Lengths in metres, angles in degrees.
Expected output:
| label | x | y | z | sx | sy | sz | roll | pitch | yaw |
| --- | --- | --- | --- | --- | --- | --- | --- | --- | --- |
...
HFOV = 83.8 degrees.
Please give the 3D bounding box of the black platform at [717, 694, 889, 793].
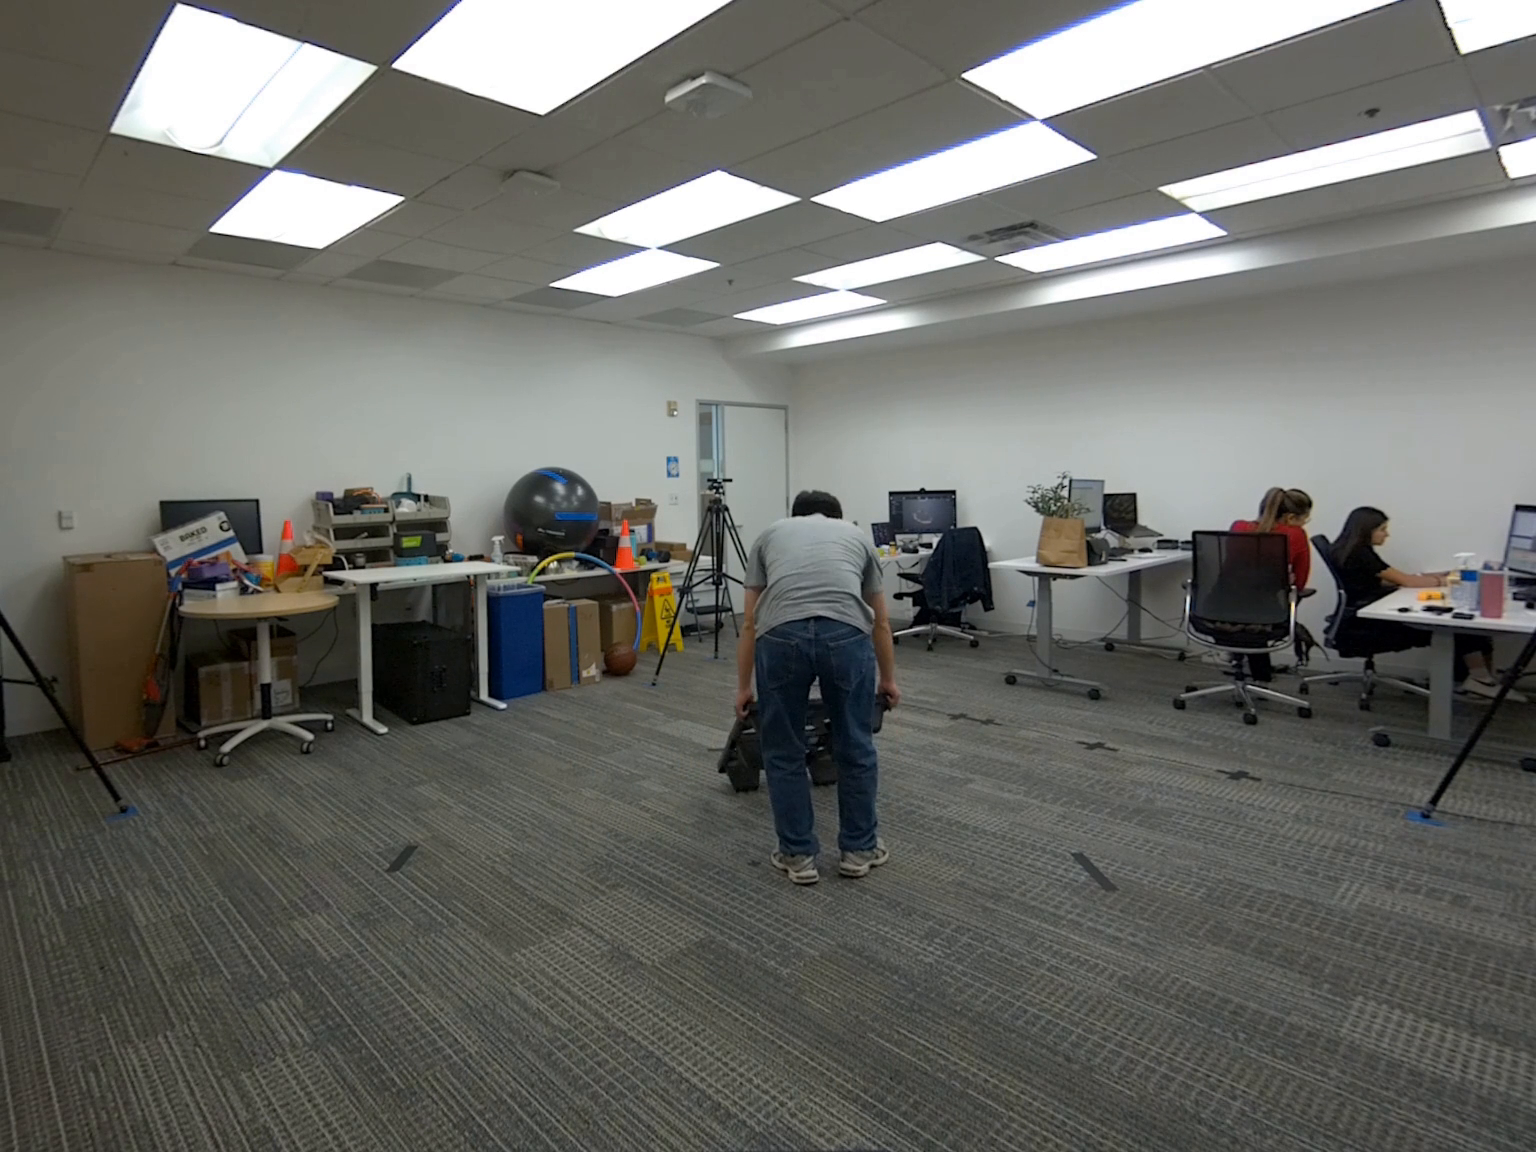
| label | x | y | z | sx | sy | sz | roll | pitch | yaw |
| --- | --- | --- | --- | --- | --- | --- | --- | --- | --- |
| black platform | 0.148 | 0.730 | 3.585 | 0.599 | 0.147 | 0.792 | -1 | -29 | -11 |
